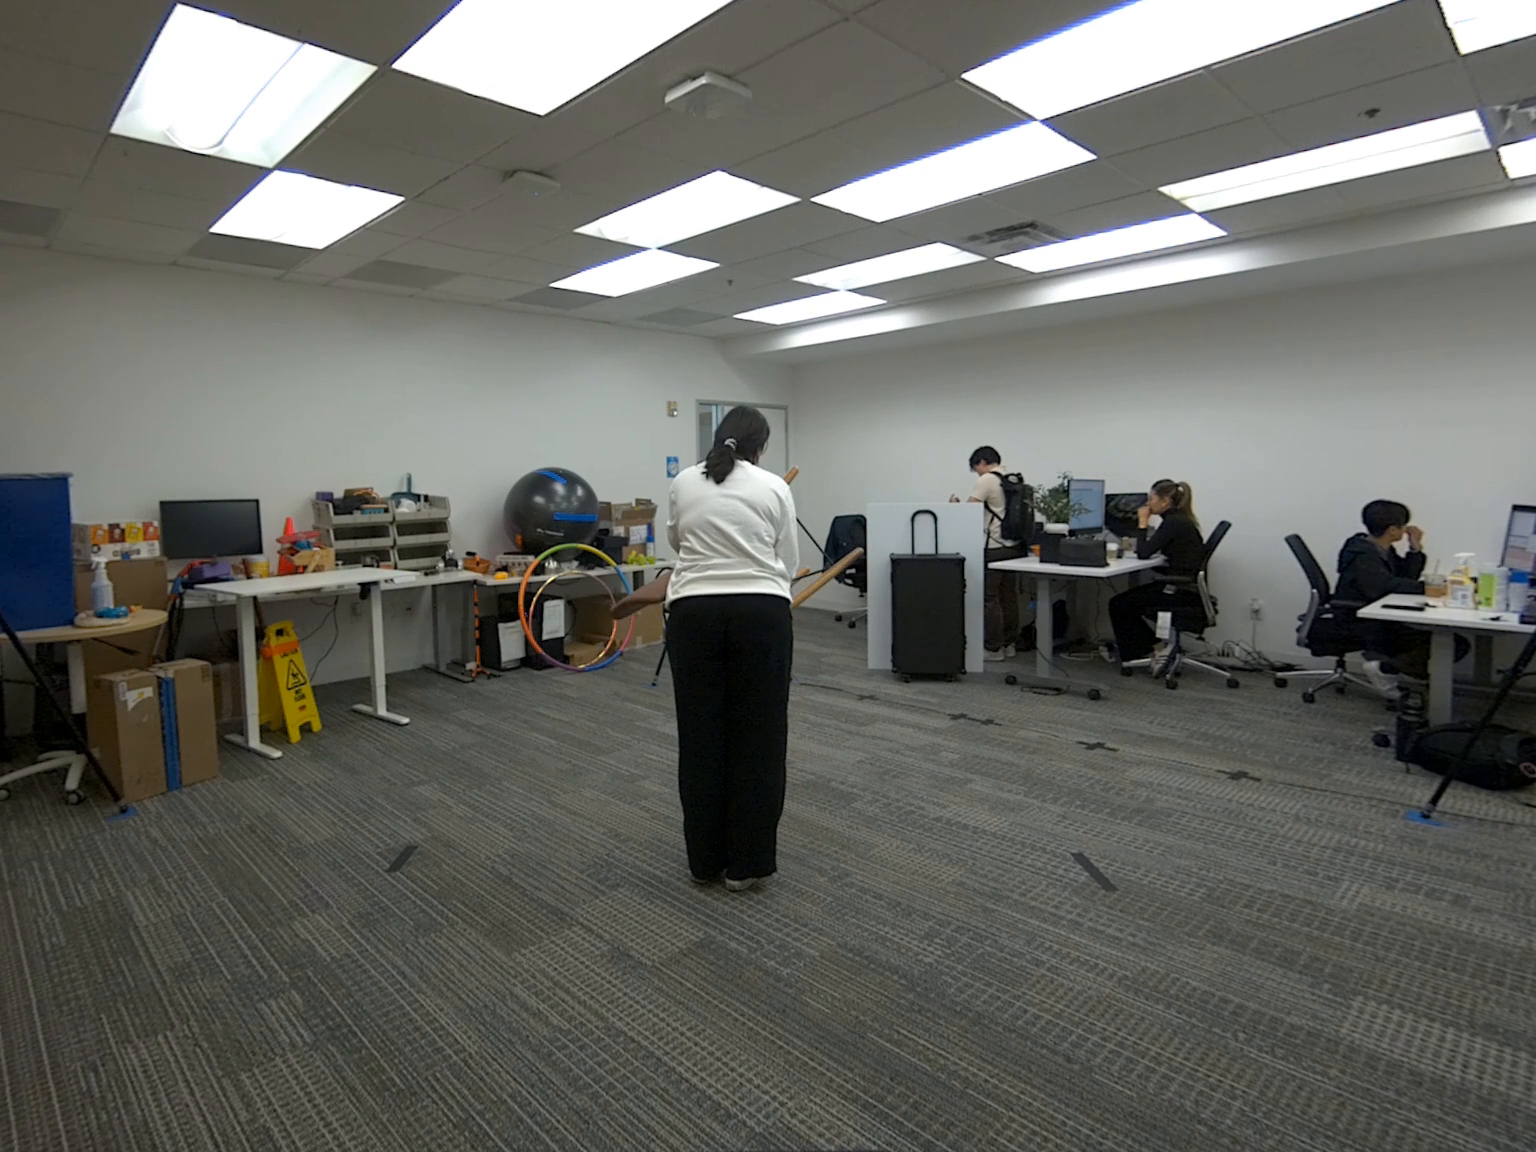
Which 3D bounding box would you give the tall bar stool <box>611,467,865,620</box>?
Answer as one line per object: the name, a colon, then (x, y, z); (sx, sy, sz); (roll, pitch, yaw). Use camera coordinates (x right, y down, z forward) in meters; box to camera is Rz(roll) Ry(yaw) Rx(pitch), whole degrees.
tall bar stool: (-0.119, 0.031, 3.368); (0.887, 0.463, 0.463); (-43, 11, -32)
